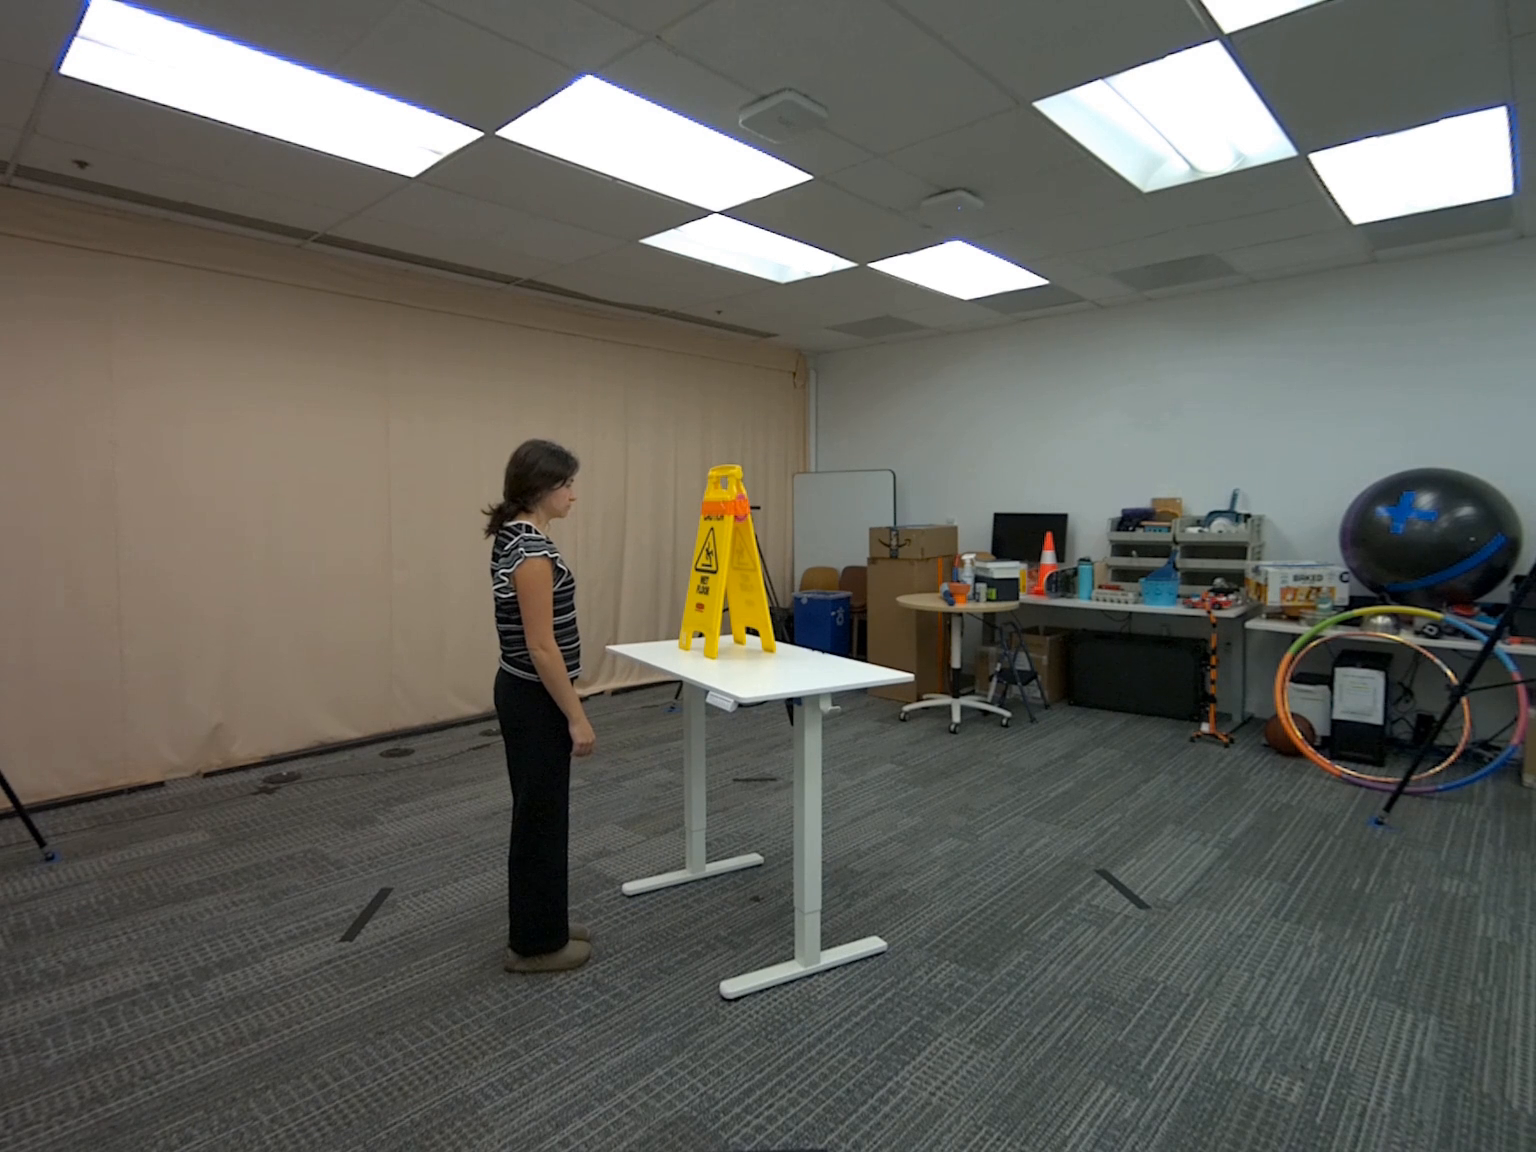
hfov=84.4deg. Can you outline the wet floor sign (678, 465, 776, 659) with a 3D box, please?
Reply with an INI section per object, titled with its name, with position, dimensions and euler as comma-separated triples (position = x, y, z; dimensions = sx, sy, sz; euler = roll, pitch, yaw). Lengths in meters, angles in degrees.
[wet floor sign]
position = -0.145, -0.060, 2.968
dimensions = 0.282, 0.645, 0.290
euler = -1, 4, -30
